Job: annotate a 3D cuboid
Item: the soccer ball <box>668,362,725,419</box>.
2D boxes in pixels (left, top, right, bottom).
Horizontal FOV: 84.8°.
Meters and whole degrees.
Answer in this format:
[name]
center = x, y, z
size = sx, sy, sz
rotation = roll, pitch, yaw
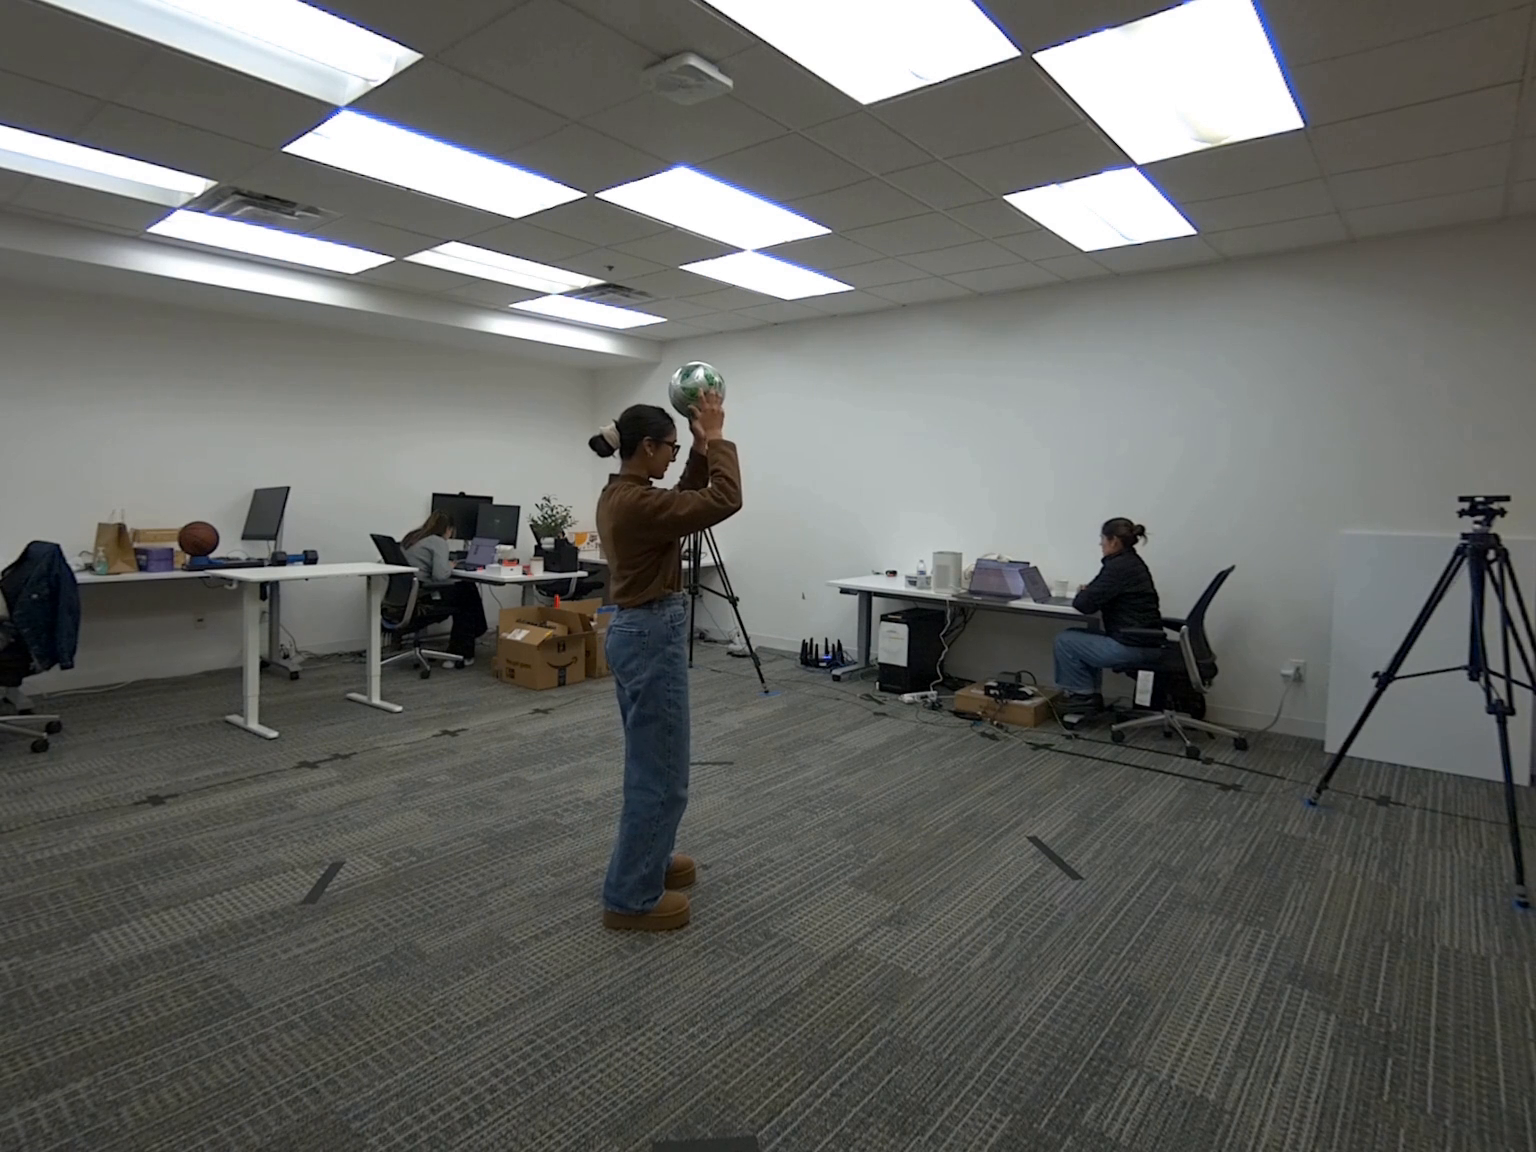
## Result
[soccer ball]
center = -0.240, -0.607, 2.795
size = 0.187, 0.187, 0.188
rotation = 1, 4, -2
